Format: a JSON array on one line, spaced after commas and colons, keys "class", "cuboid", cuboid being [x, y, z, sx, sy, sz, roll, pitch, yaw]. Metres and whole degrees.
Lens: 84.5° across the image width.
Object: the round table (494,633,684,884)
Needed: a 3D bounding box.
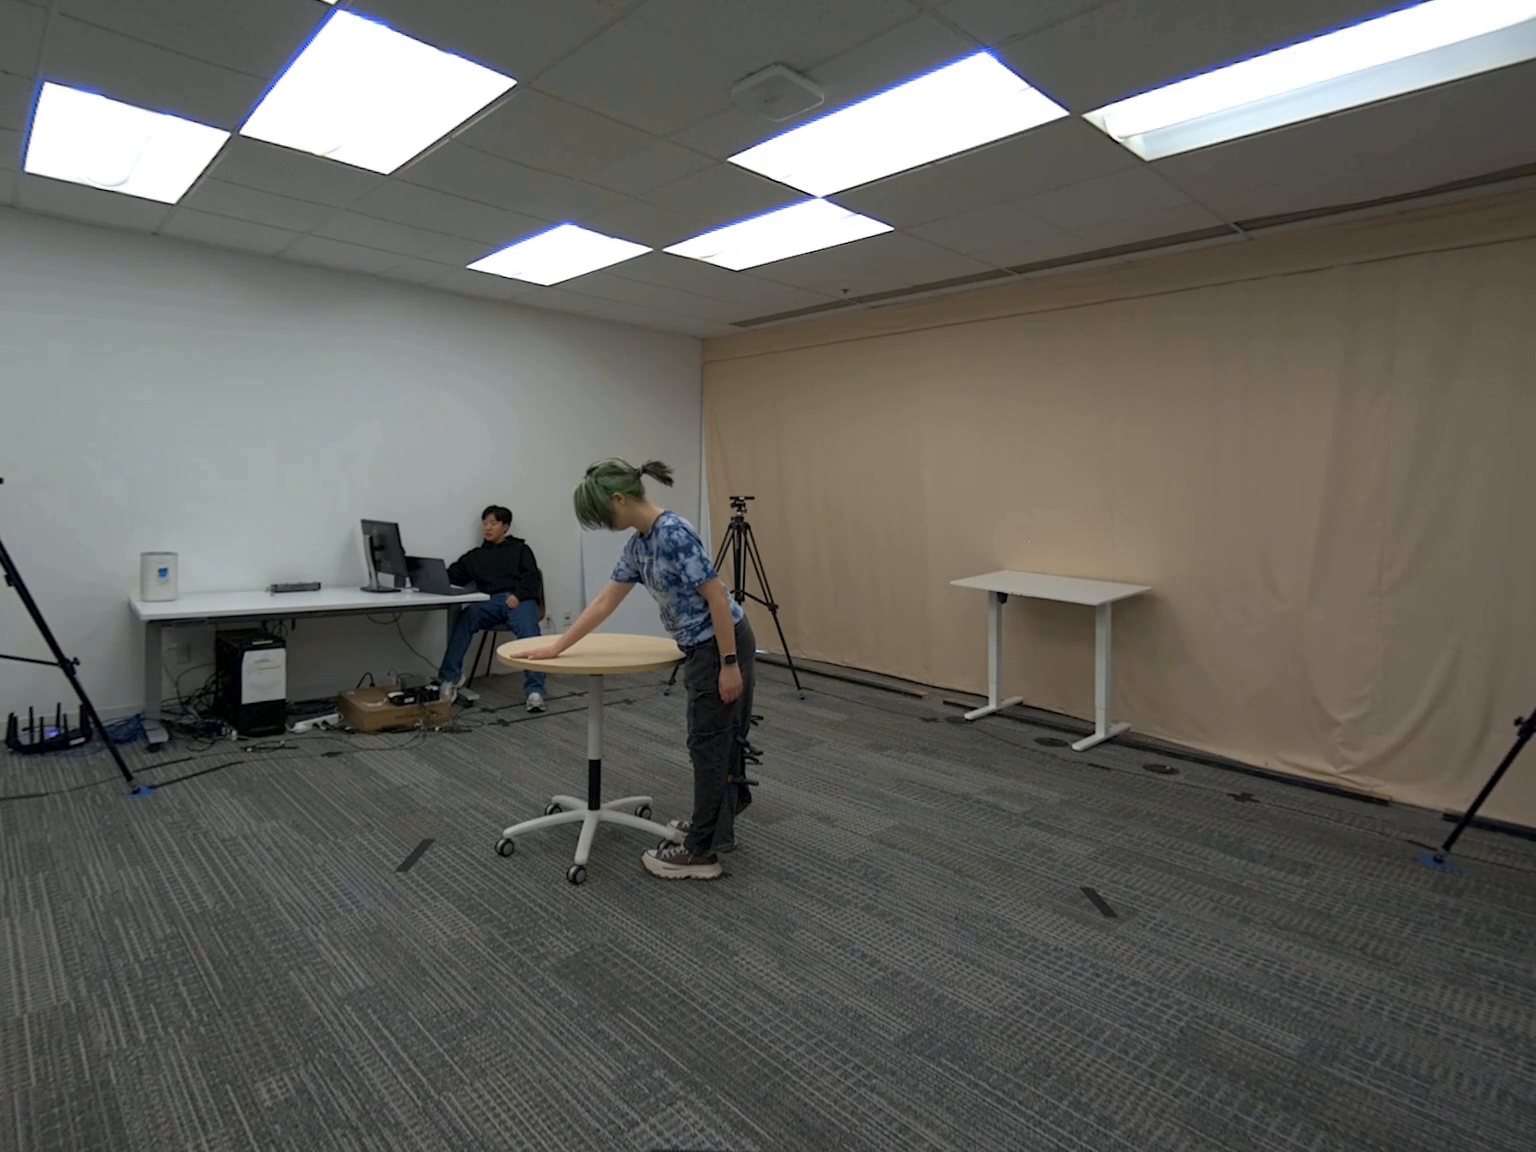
[{"class": "round table", "cuboid": [-0.680, 0.674, 3.353, 0.784, 0.784, 0.787, 1, 4, -1]}]
